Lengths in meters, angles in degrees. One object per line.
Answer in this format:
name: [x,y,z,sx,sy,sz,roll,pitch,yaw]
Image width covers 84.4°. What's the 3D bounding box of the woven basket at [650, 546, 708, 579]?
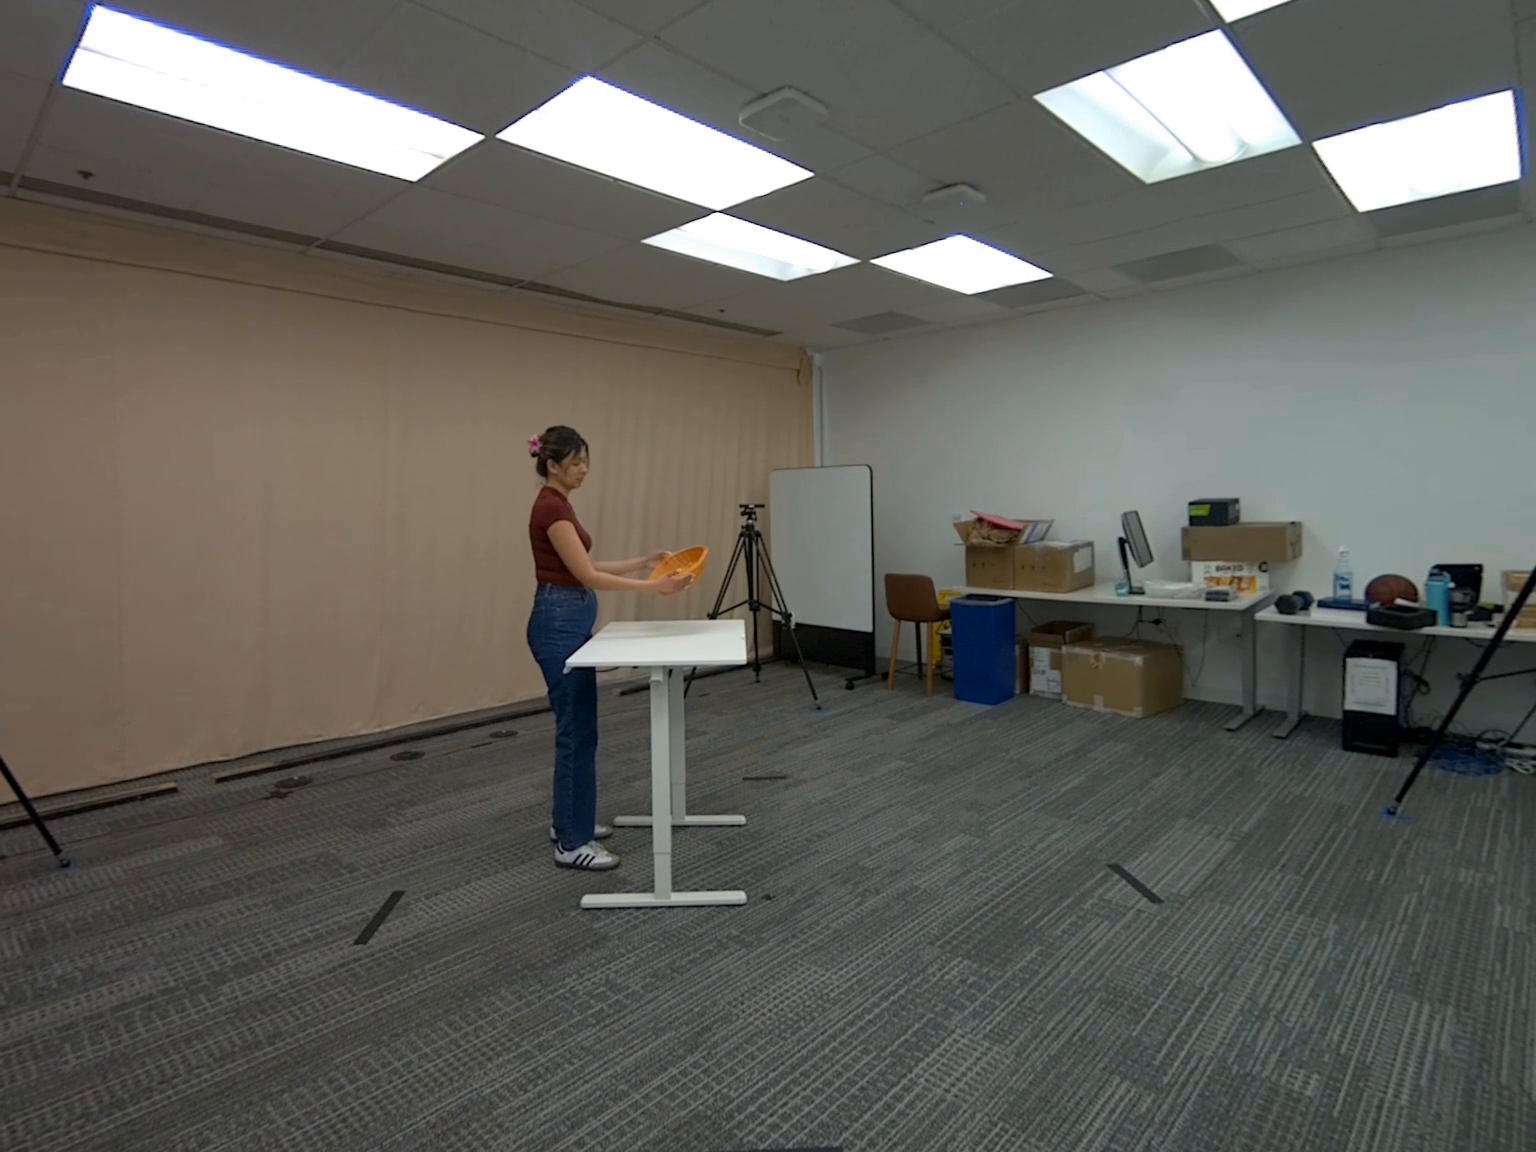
woven basket: [-0.373,-0.009,3.482,0.258,0.072,0.348,-11,23,30]
